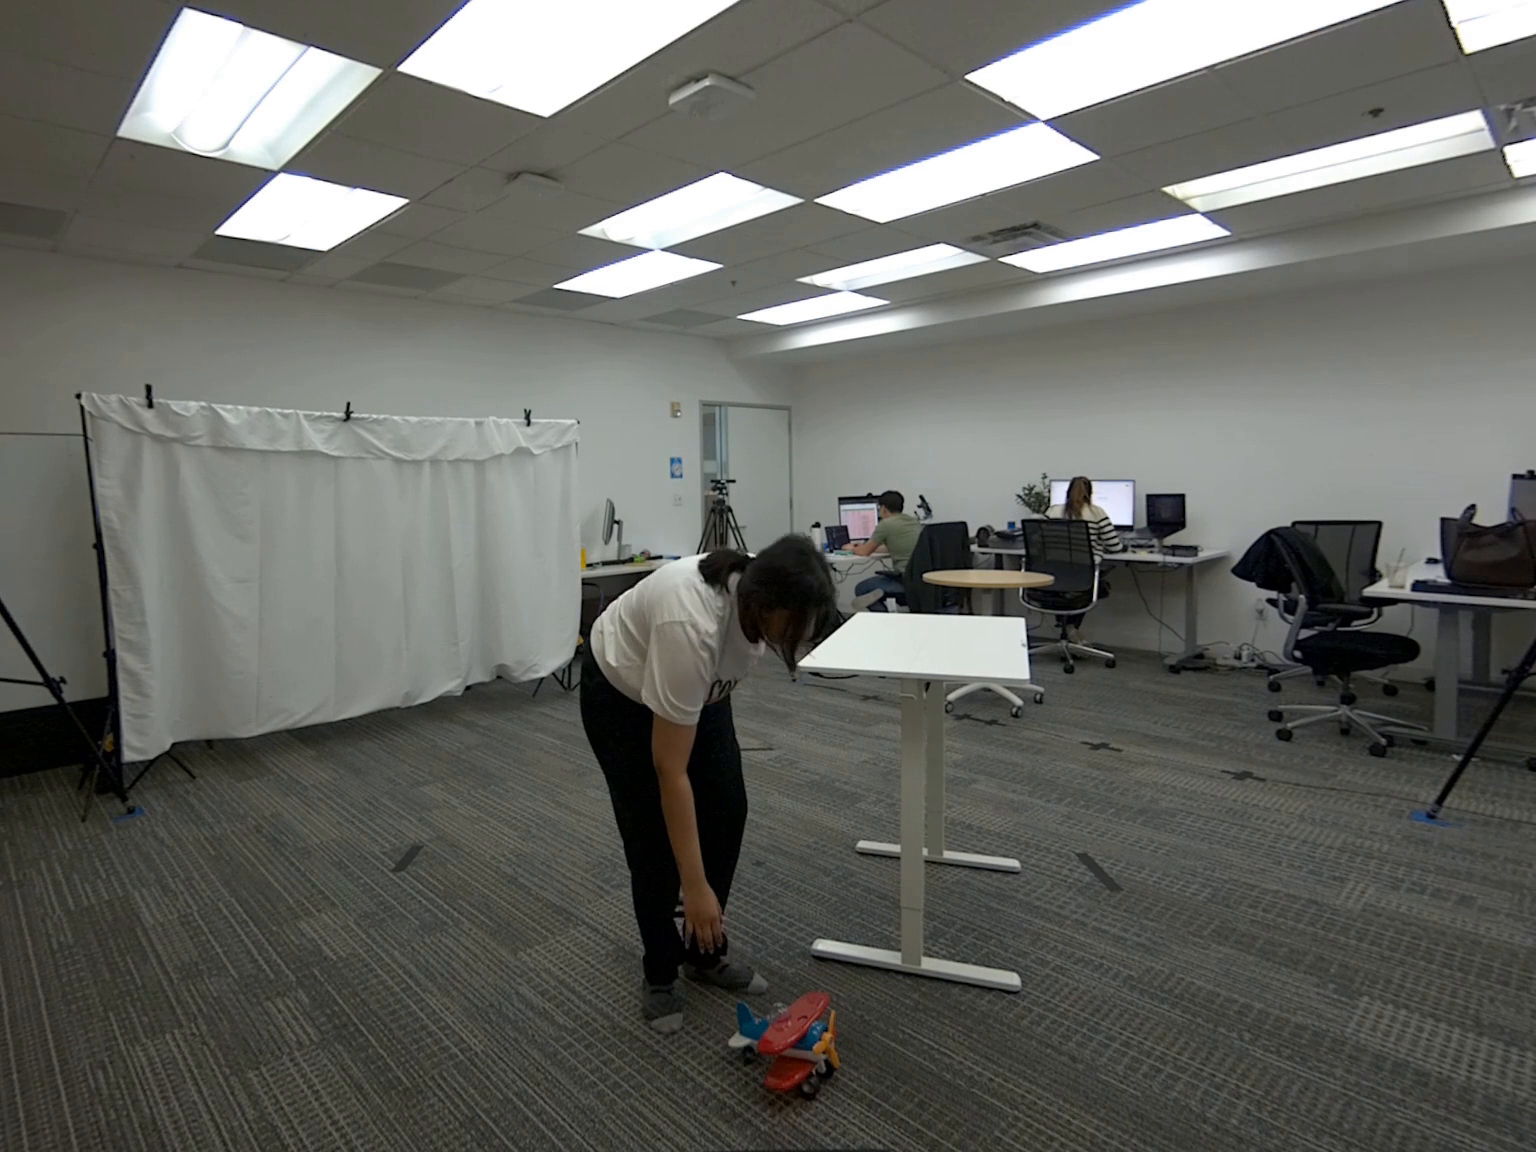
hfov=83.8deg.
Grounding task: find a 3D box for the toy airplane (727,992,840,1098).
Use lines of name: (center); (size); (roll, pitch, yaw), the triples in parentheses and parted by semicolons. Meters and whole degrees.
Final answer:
toy airplane: (0.046, 1.108, 1.983); (0.261, 0.155, 0.251); (0, 6, 6)
